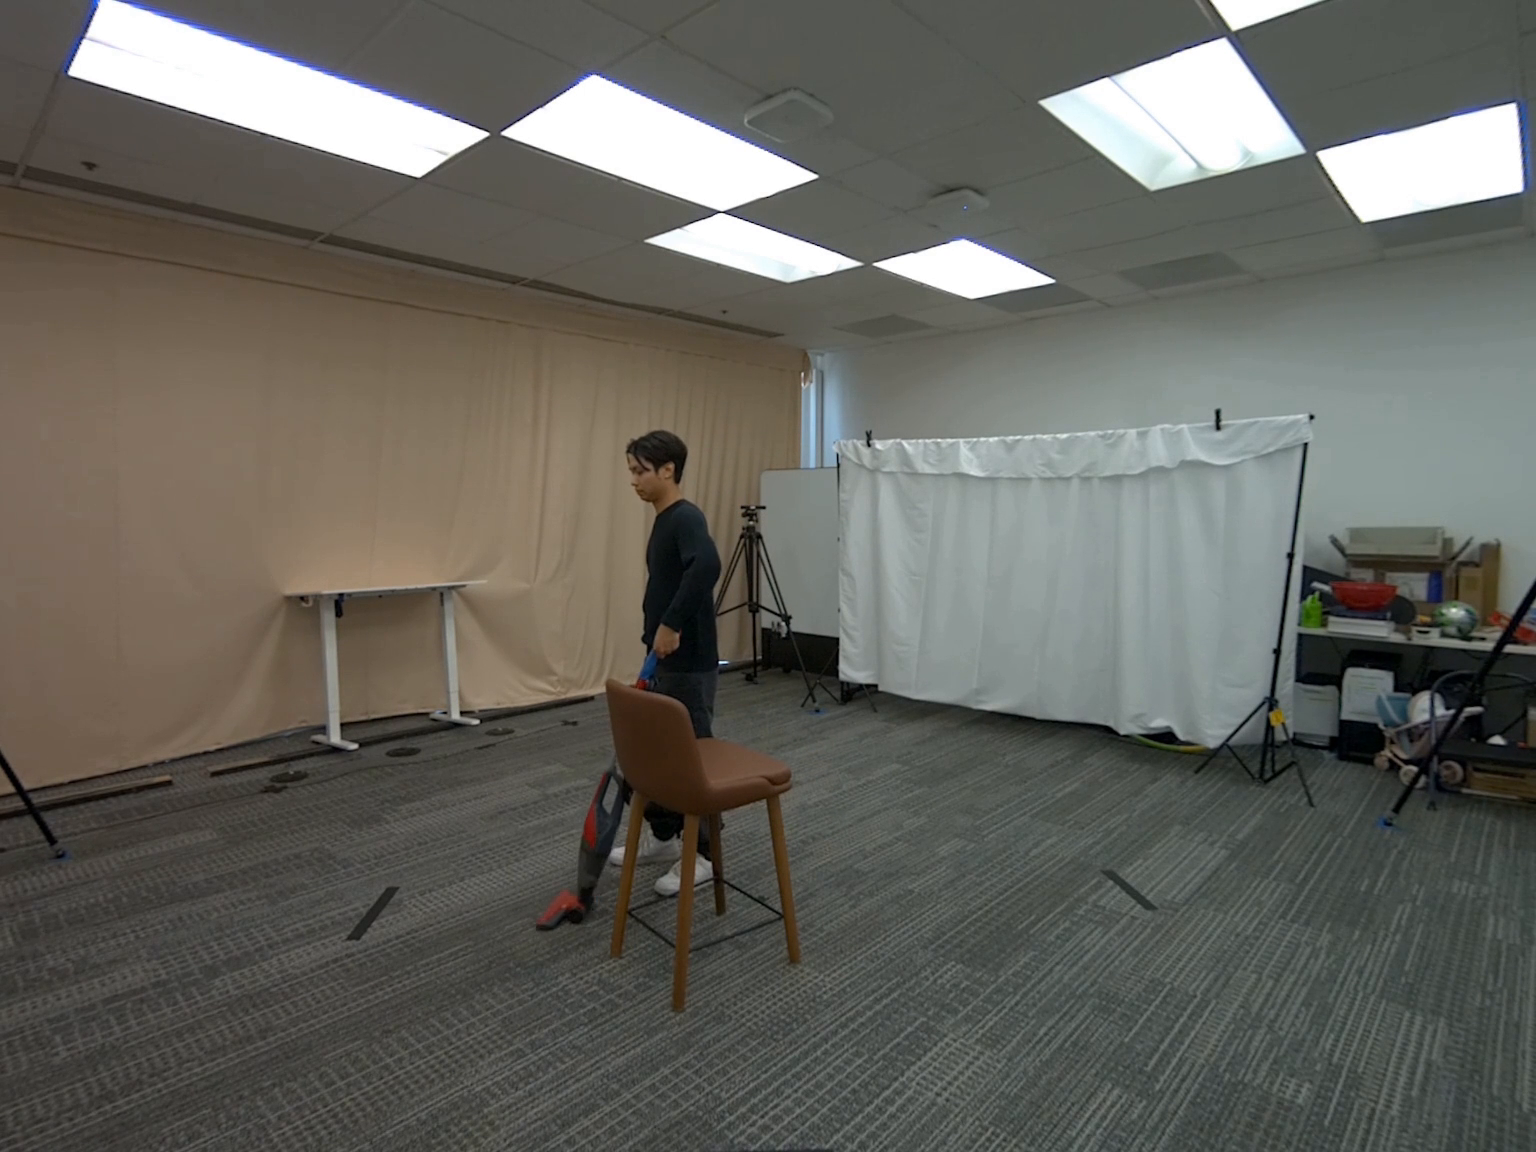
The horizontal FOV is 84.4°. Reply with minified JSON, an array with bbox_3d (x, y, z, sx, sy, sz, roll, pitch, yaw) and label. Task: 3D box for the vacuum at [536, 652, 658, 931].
[{"bbox_3d":[-0.505,0.676,2.826,0.146,1.048,0.250,22,7,8],"label":"vacuum"}]
